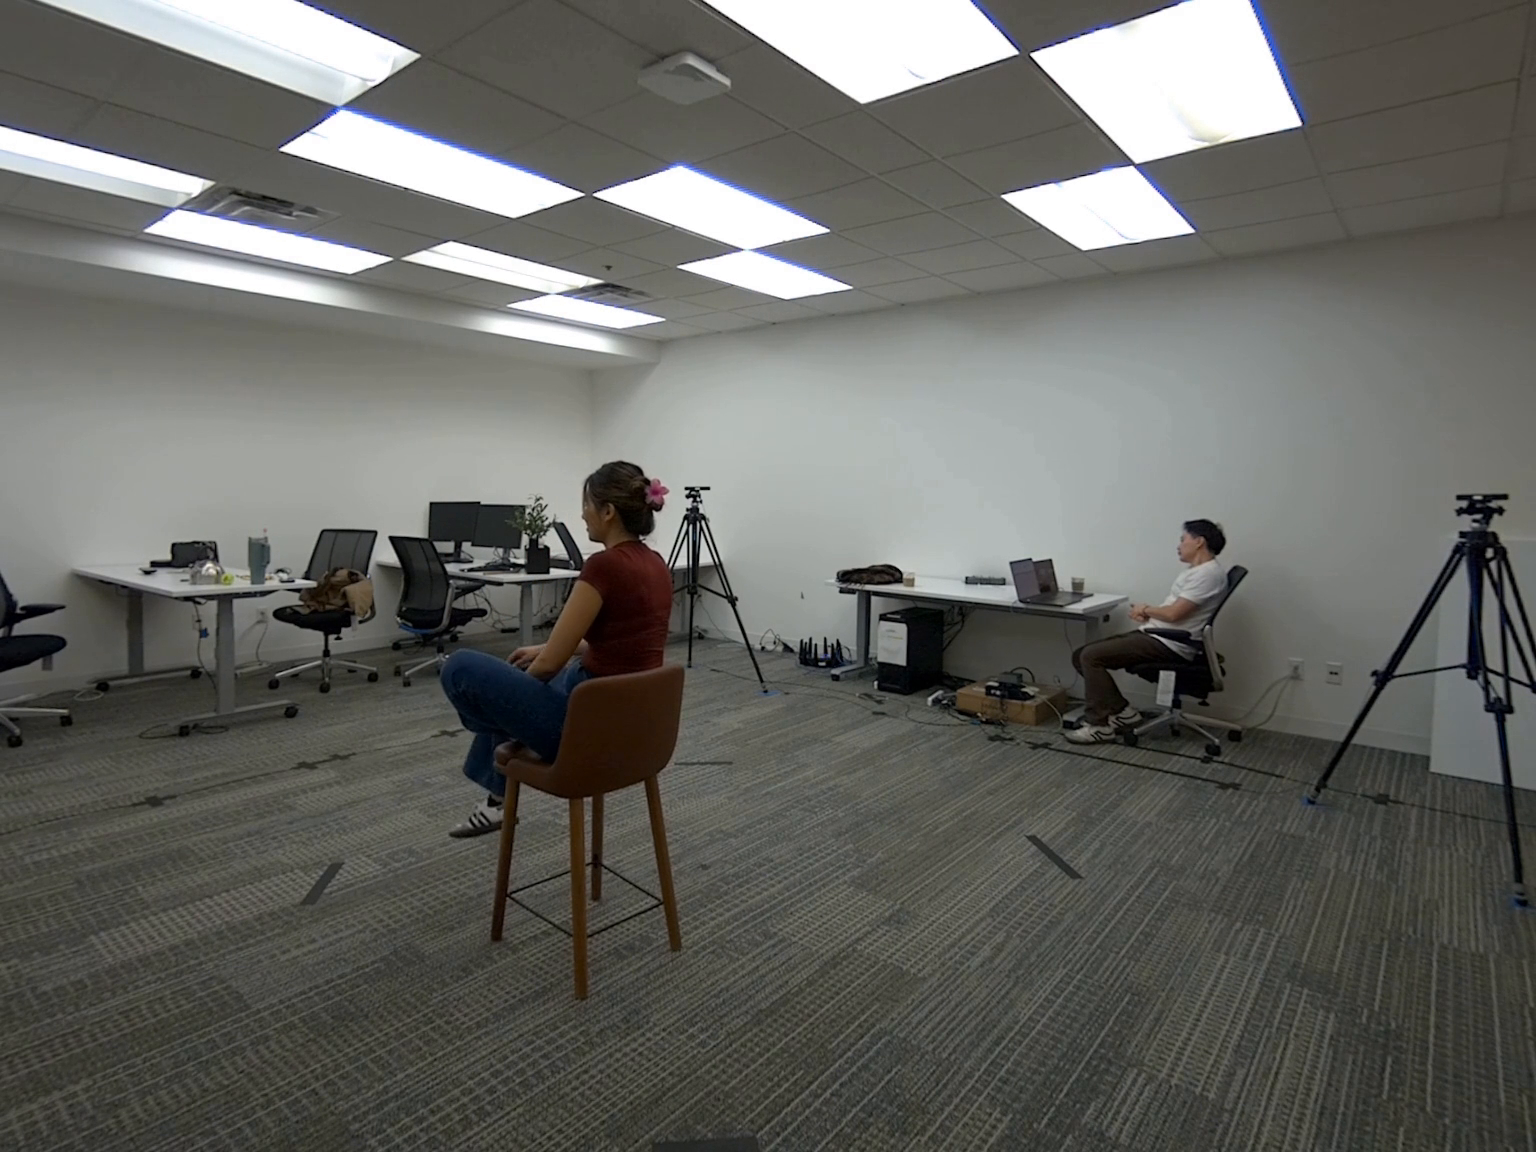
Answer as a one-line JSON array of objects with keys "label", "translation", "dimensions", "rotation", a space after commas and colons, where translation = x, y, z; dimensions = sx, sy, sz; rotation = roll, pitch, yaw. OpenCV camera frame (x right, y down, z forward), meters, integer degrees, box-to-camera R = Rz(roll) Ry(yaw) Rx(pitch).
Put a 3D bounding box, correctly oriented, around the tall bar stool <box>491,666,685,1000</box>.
[{"label": "tall bar stool", "translation": [-0.546, 0.684, 2.548], "dimensions": [0.484, 0.886, 0.443], "rotation": [7, 7, 43]}]
